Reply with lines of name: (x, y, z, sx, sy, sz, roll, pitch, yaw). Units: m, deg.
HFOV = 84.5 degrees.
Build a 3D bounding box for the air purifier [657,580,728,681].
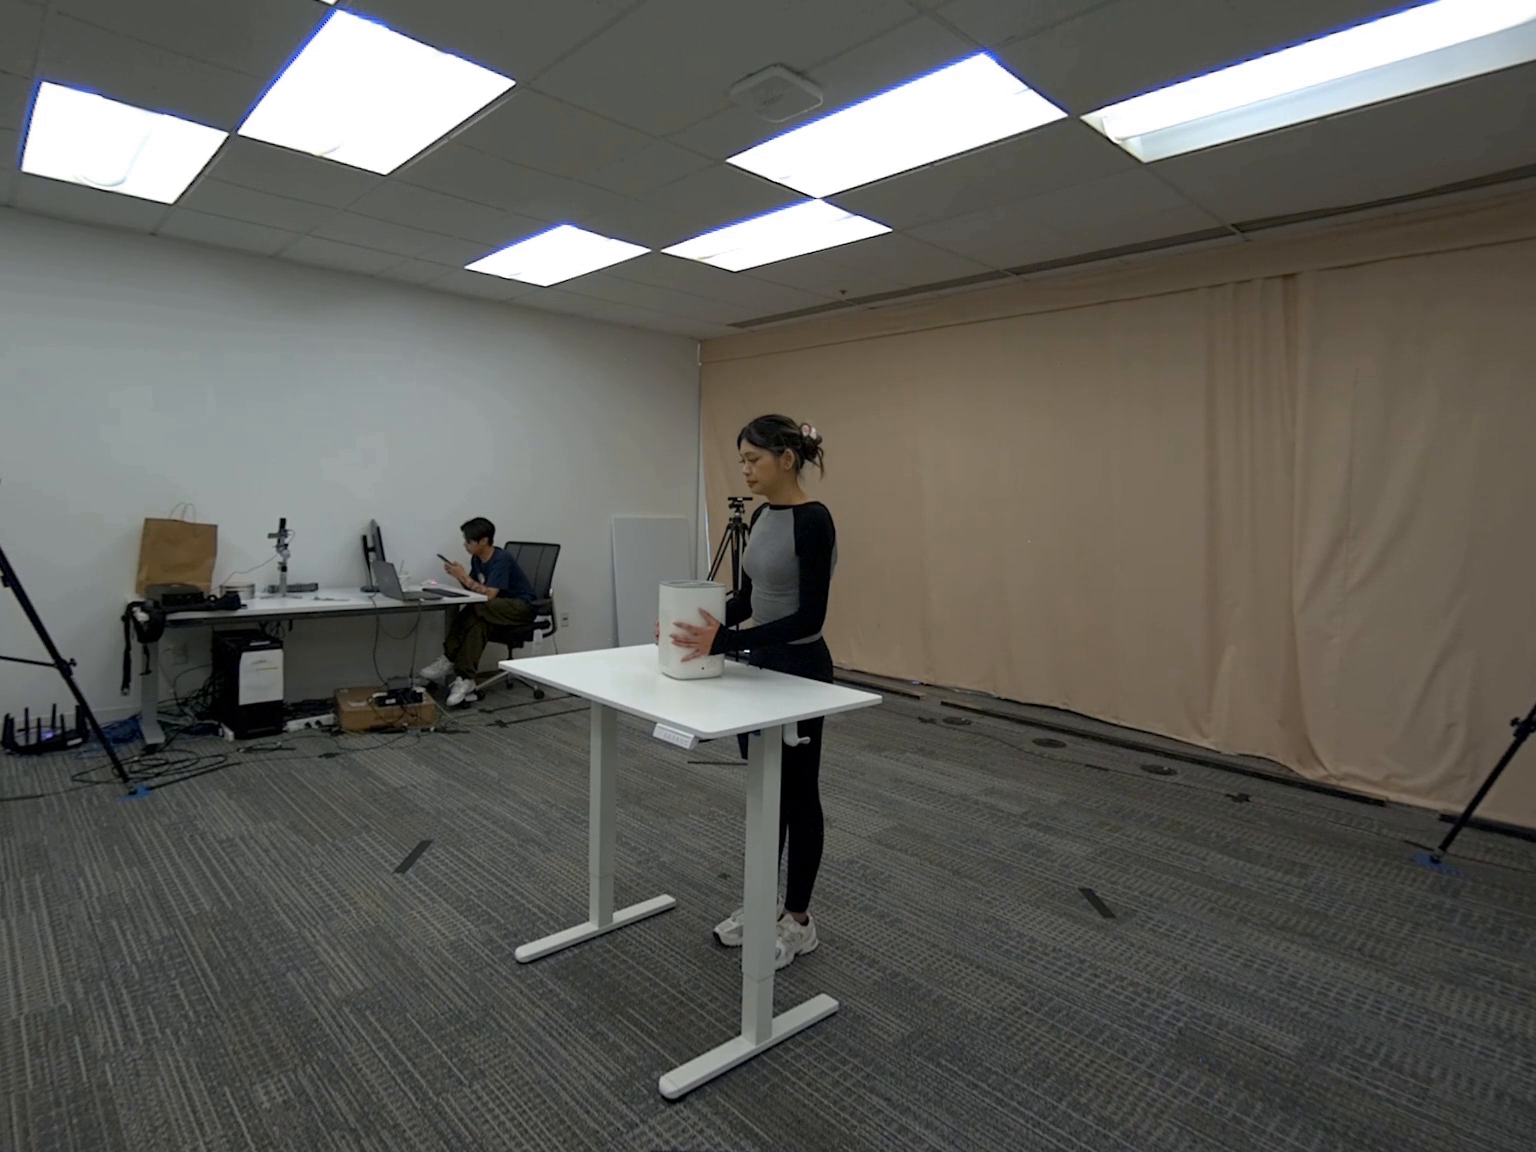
air purifier: (-0.227, 0.155, 2.425, 0.167, 0.265, 0.175, 0, 1, -30)
